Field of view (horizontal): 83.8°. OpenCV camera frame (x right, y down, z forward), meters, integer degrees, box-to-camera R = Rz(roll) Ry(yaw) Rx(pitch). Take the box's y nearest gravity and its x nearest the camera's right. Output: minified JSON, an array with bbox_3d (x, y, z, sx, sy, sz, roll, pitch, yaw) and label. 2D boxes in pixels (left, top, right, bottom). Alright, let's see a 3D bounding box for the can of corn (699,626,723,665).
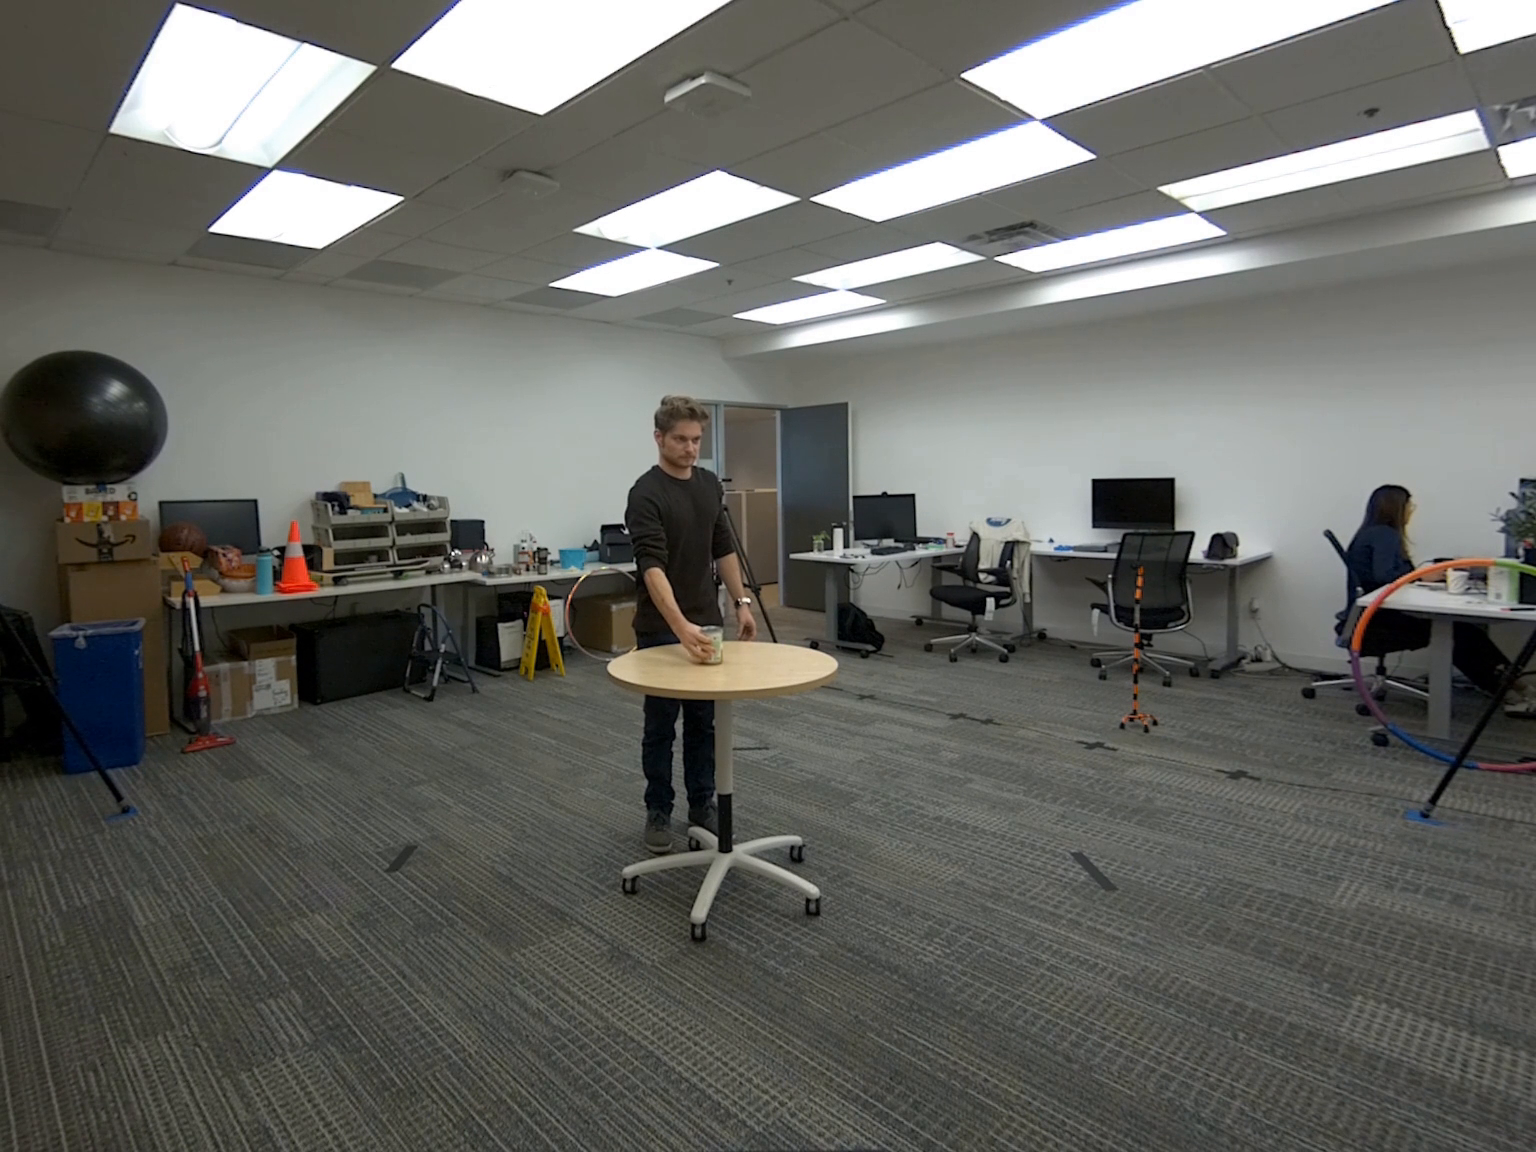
[{"bbox_3d":[-0.194,0.232,2.845,0.074,0.110,0.075,-3,9,-1],"label":"can of corn"}]
